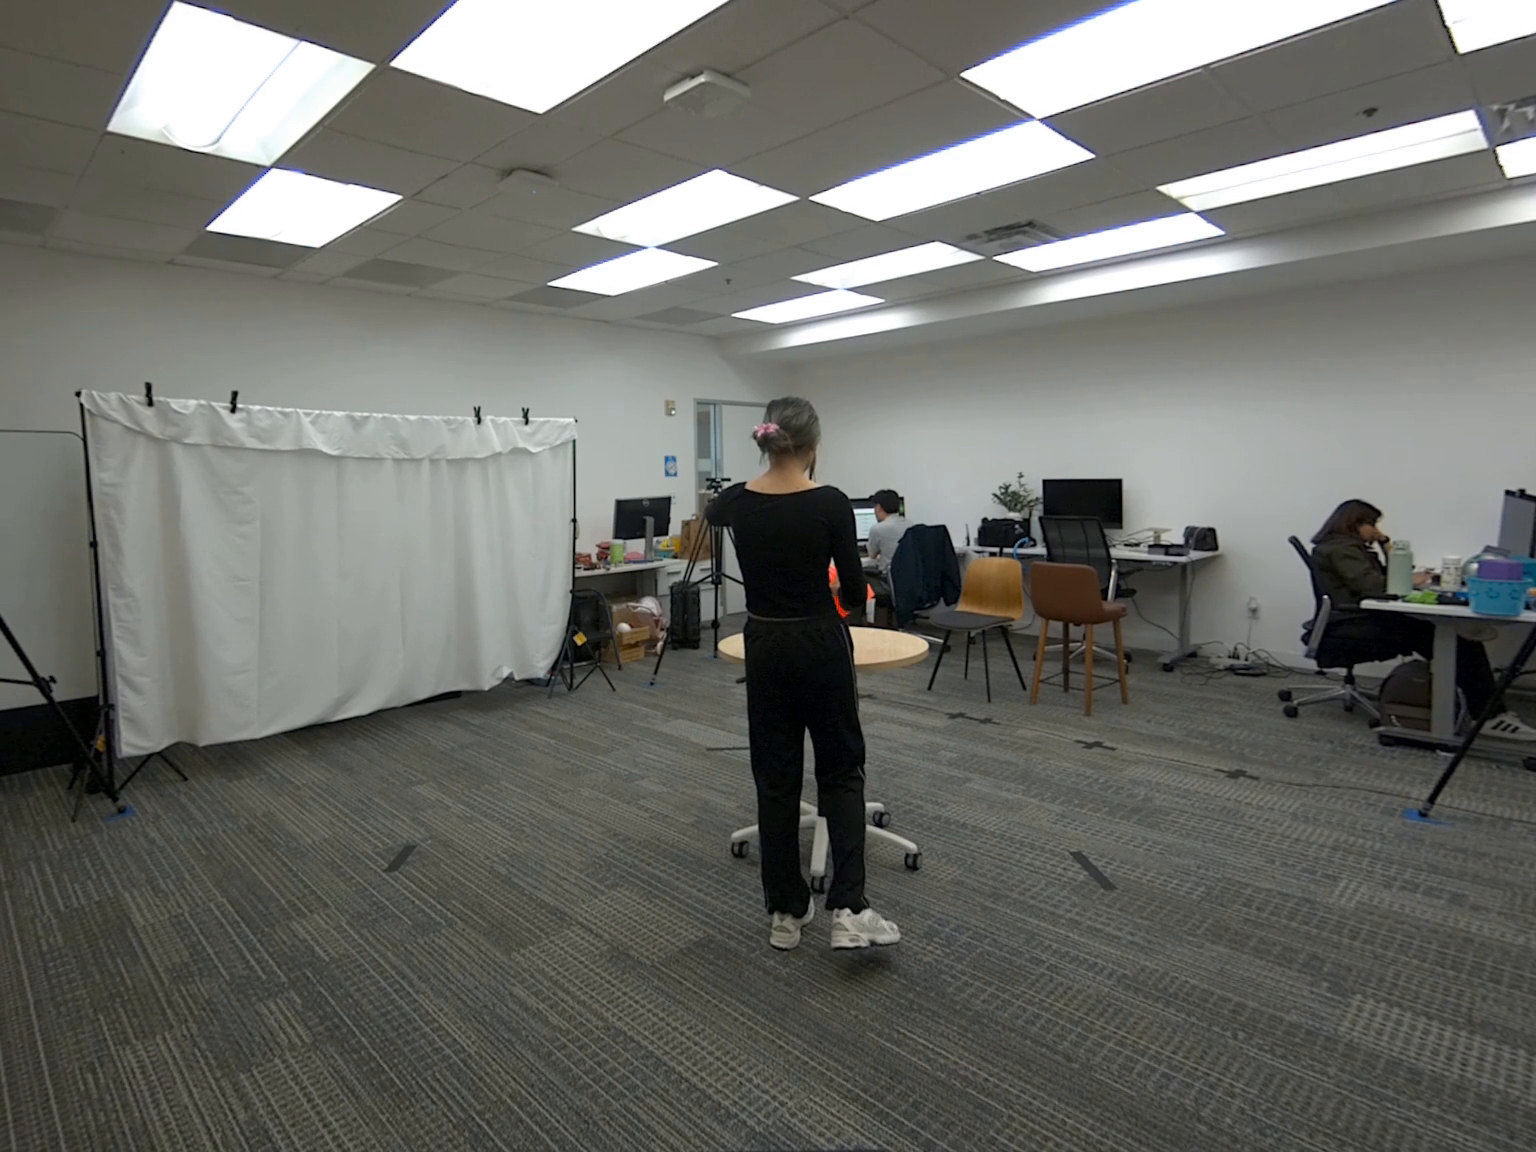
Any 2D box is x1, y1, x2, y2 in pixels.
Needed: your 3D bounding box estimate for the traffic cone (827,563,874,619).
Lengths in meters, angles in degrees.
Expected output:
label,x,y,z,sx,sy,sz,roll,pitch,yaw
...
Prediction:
label,x,y,z,sx,sy,sz,roll,pitch,yaw
traffic cone,0.172,-0.036,2.877,0.205,0.383,0.204,-39,2,6
